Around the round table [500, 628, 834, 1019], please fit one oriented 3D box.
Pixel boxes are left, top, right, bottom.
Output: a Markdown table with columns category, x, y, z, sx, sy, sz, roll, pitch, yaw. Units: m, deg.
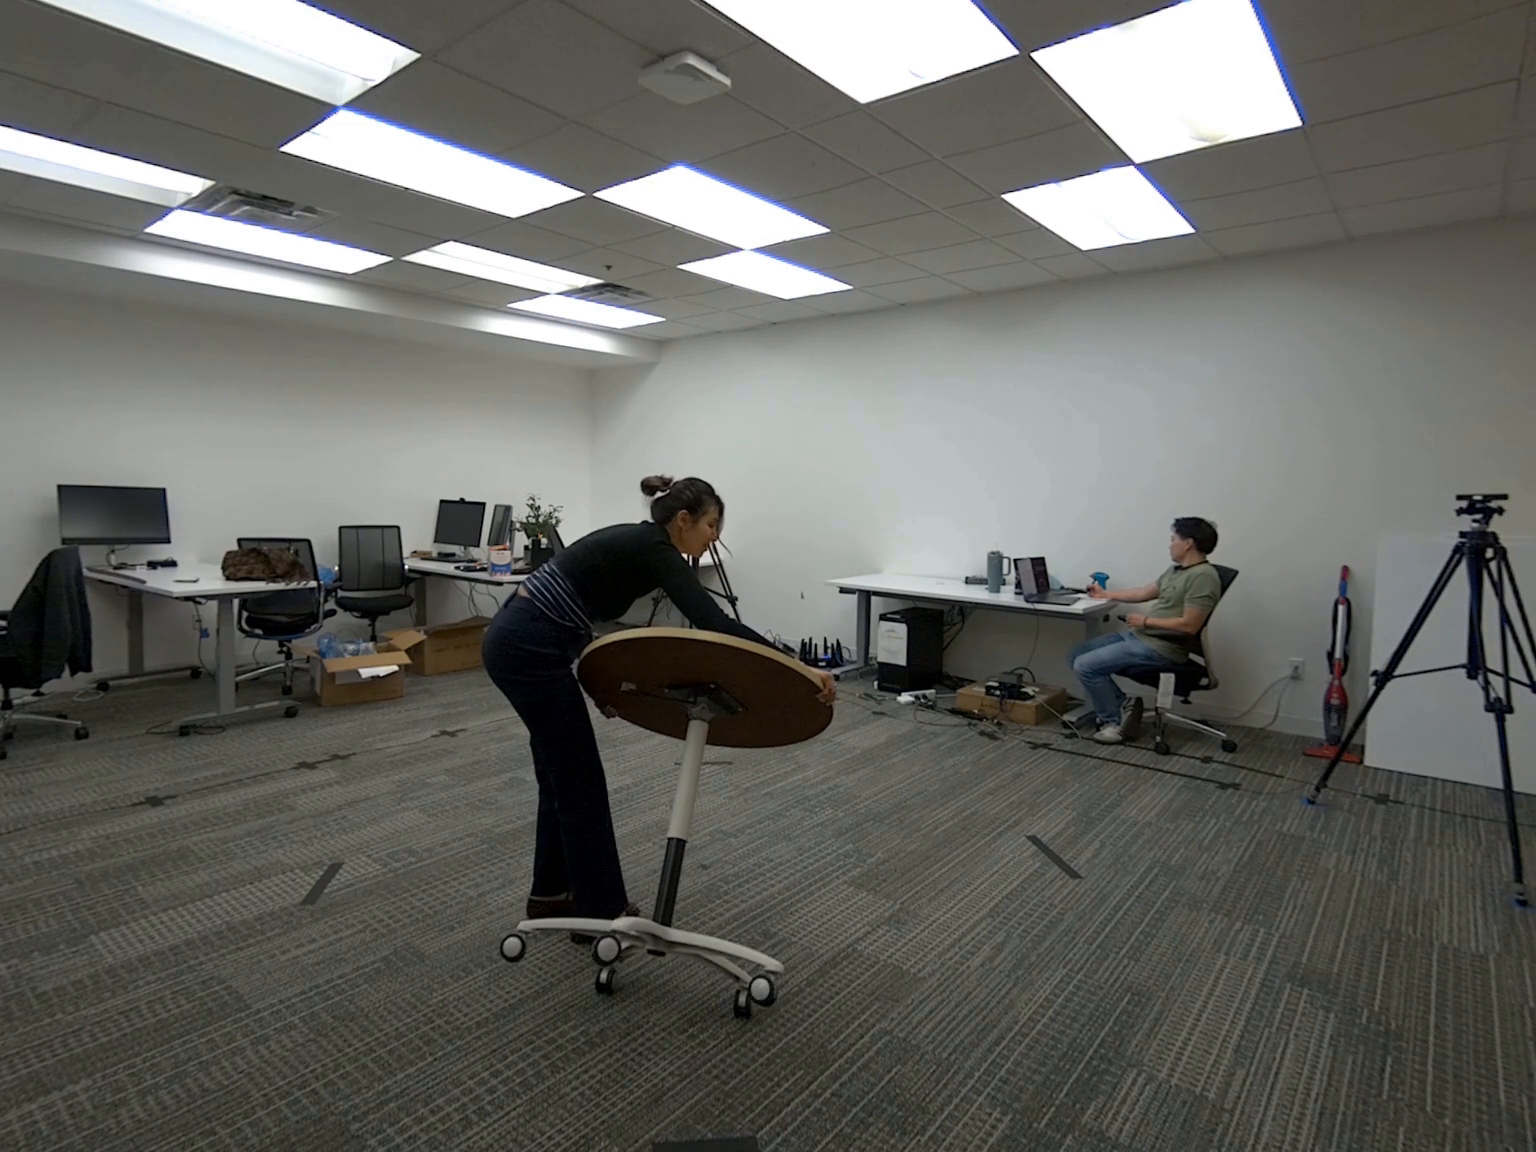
| category | x | y | z | sx | sy | sz | roll | pitch | yaw |
| --- | --- | --- | --- | --- | --- | --- | --- | --- | --- |
| round table | -0.243 | 0.677 | 2.304 | 0.768 | 0.810 | 0.745 | 8 | -32 | 3 |
